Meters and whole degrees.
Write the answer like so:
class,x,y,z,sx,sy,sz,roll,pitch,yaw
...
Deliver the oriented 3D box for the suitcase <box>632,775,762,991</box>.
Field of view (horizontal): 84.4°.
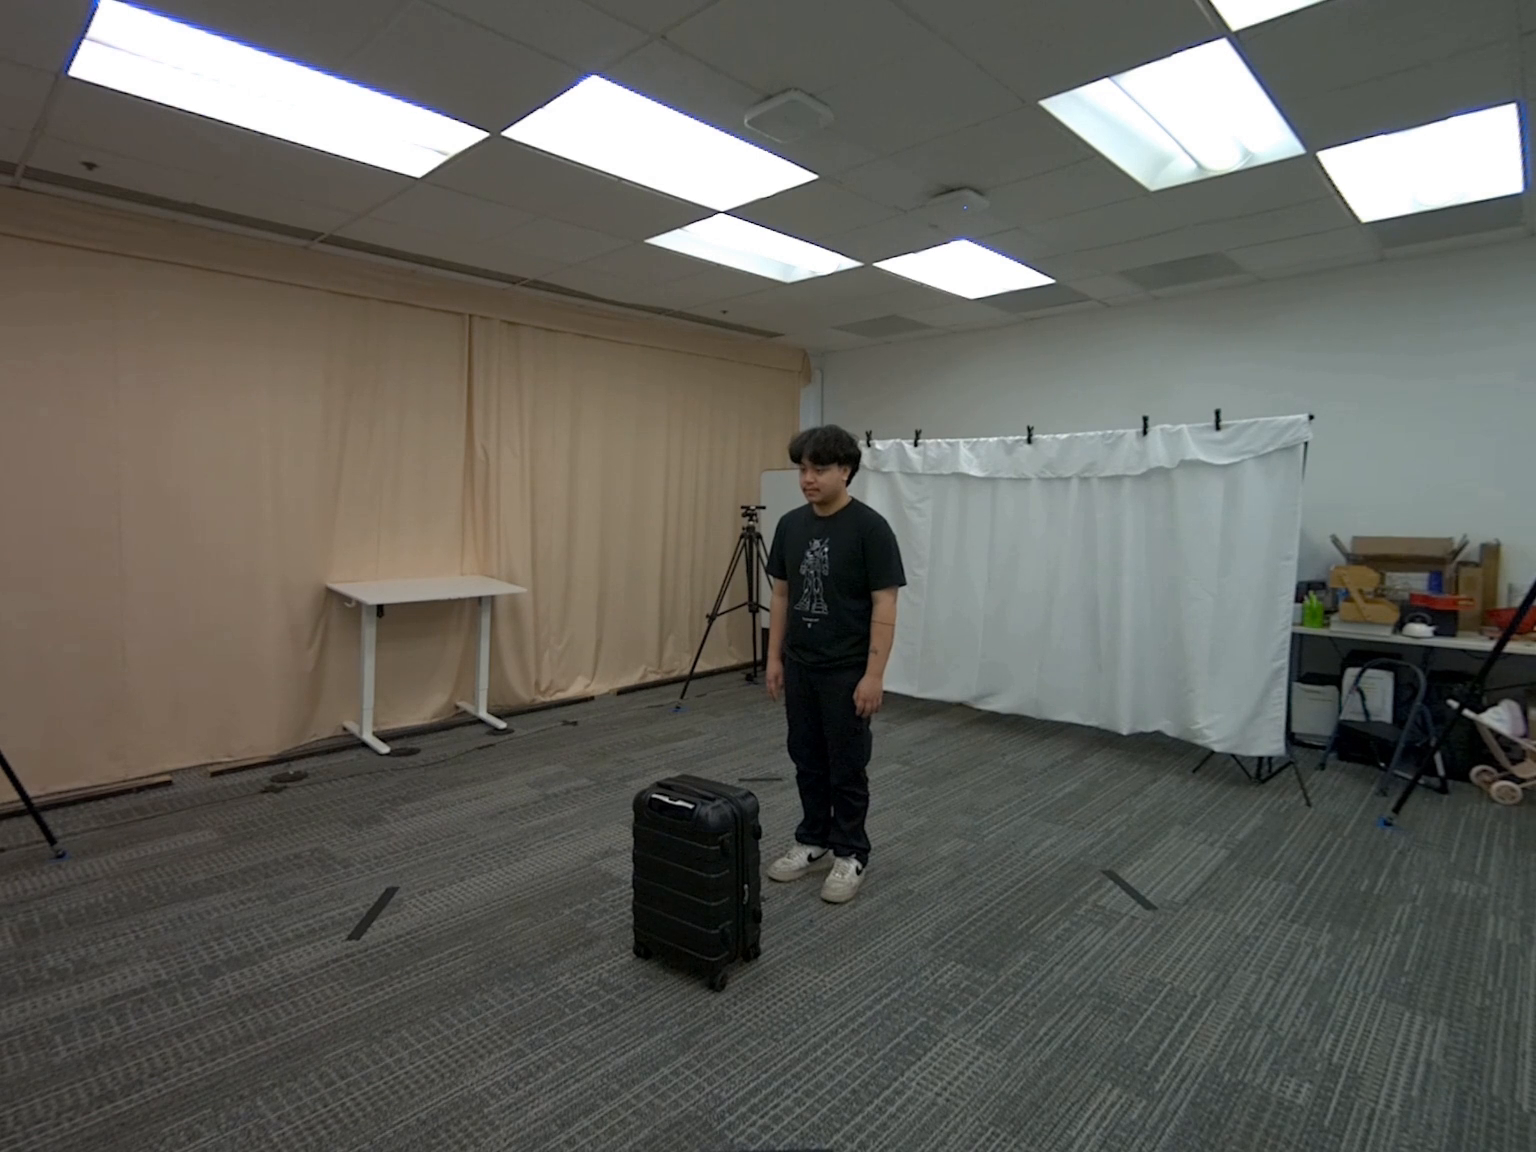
class,x,y,z,sx,sy,sz,roll,pitch,yaw
suitcase,-0.220,0.904,2.567,0.387,0.548,0.241,2,4,36
